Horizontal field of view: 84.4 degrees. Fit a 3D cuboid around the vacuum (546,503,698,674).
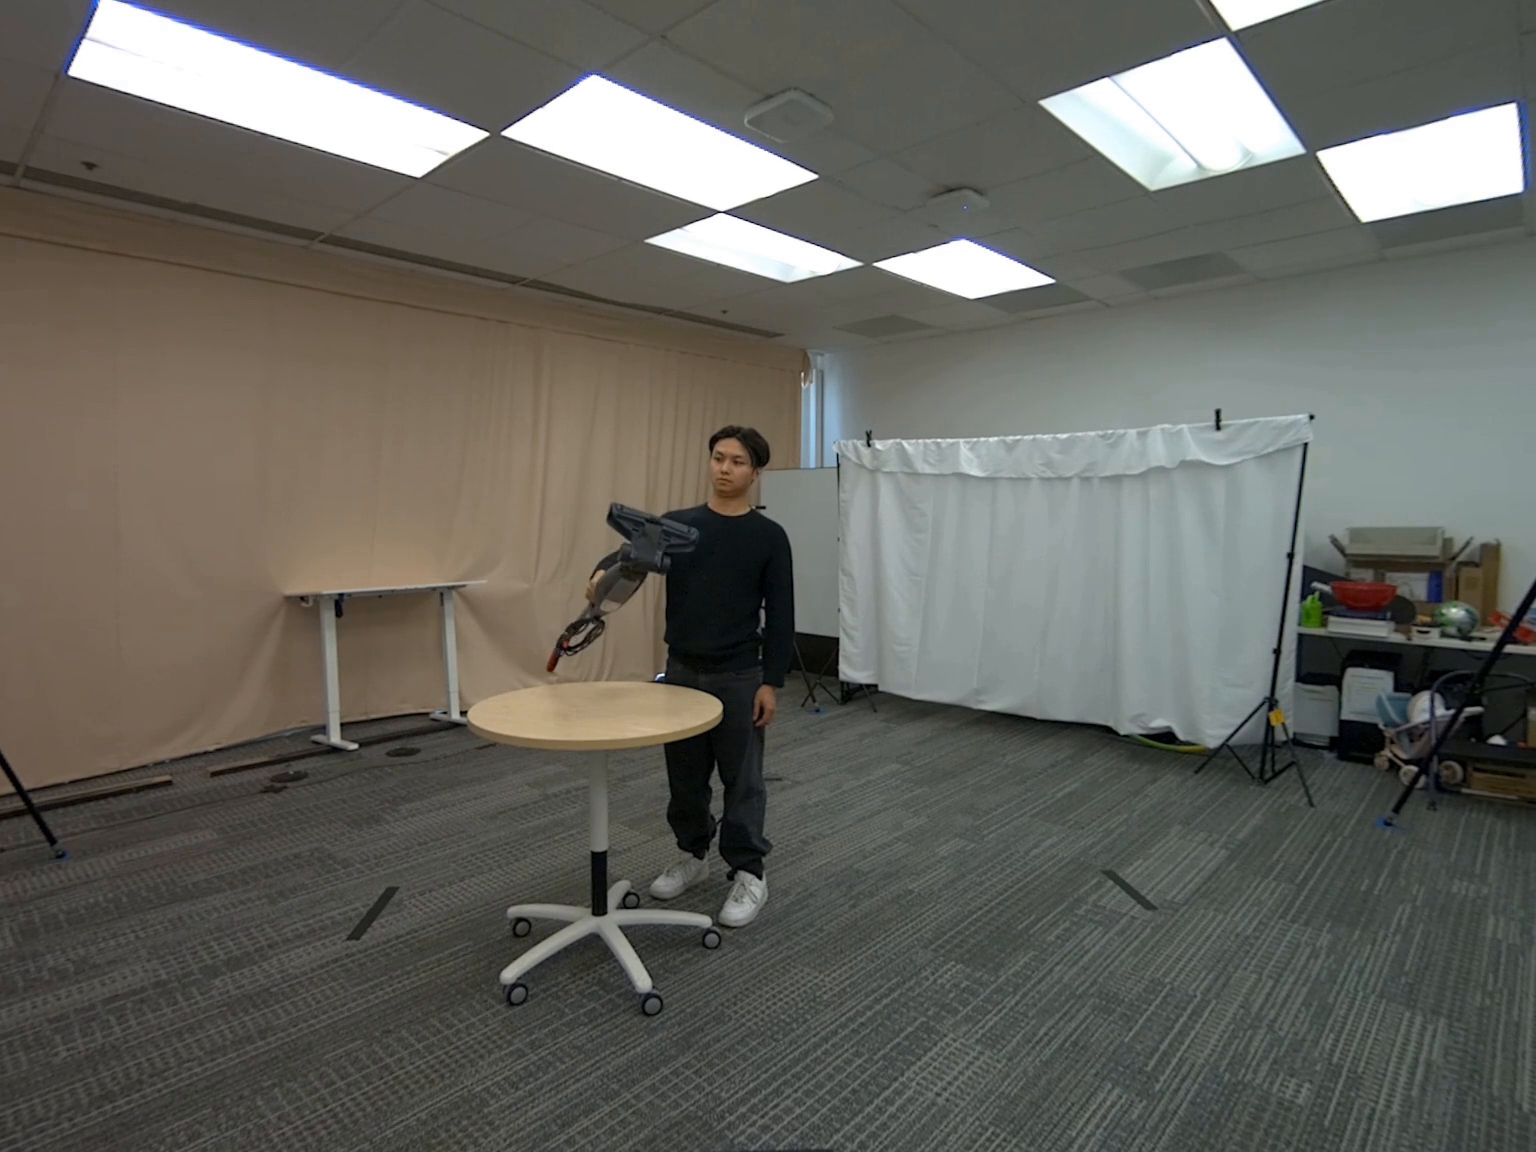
[{"bbox_3d":[-0.562,0.134,2.619,0.247,0.146,1.059,21,-35,-20],"label":"vacuum"}]
